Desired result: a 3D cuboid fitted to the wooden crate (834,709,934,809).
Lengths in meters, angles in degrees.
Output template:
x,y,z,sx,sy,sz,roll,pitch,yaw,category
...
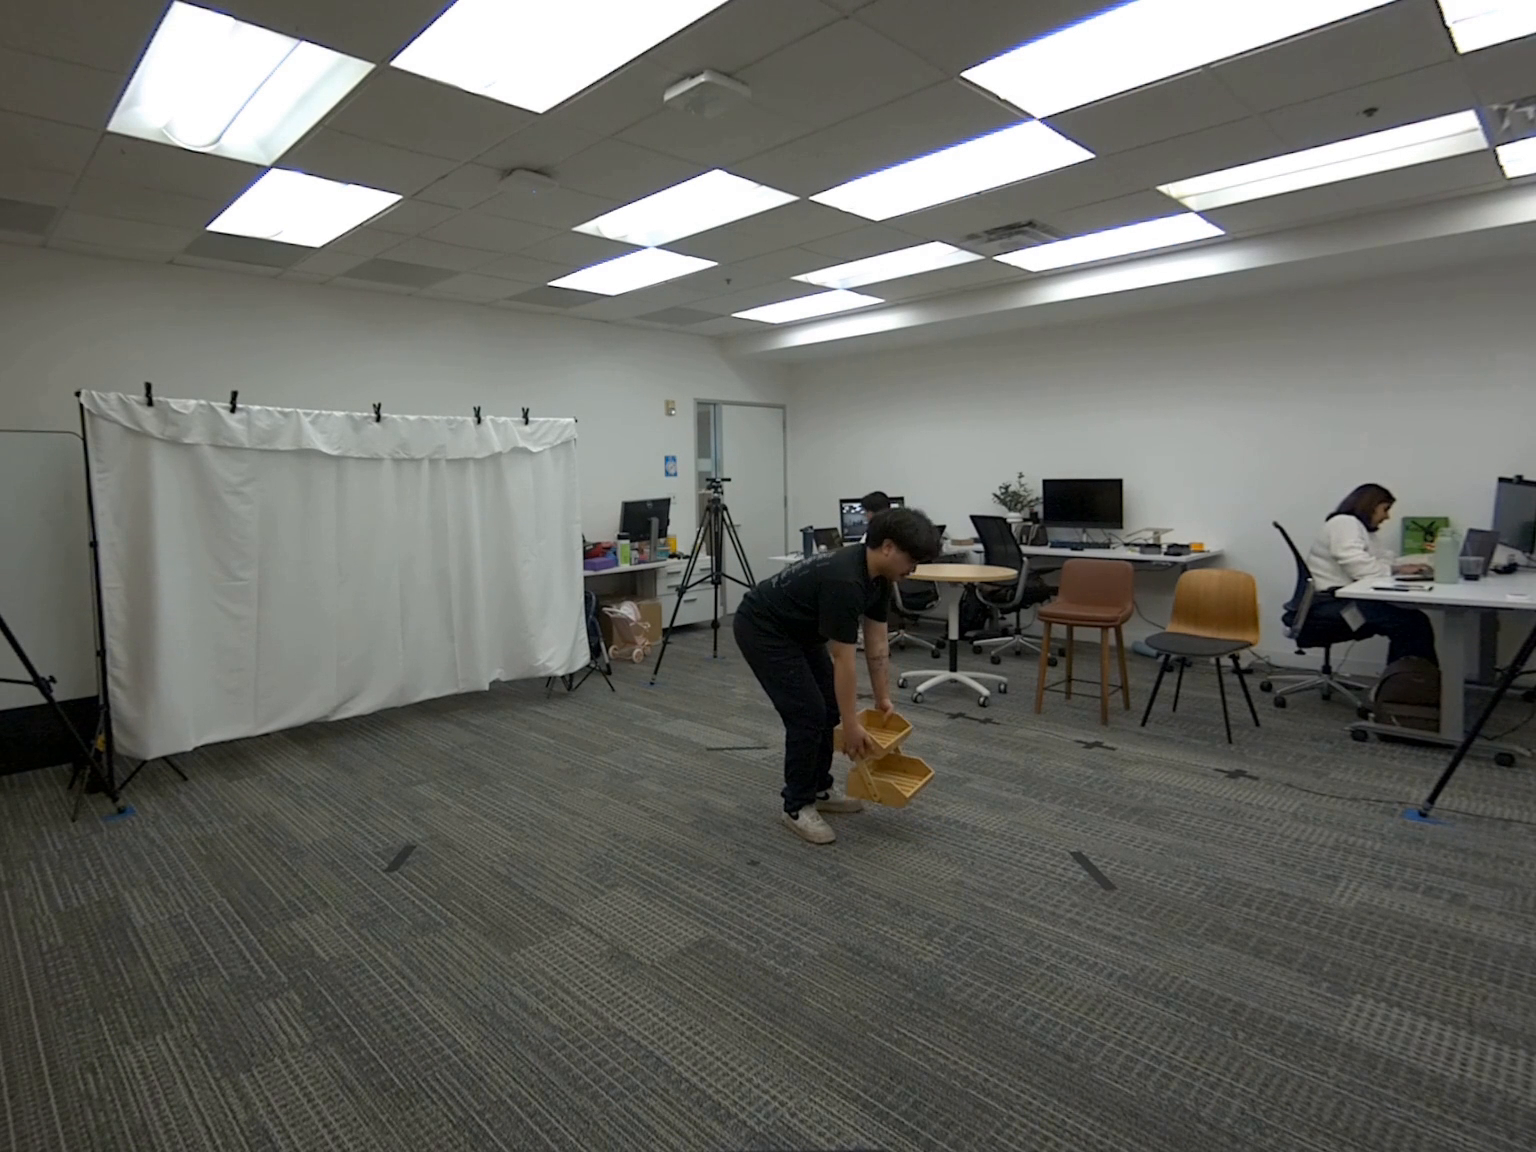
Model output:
x,y,z,sx,sy,sz,roll,pitch,yaw,category
0.461,0.705,3.362,0.310,0.272,0.317,4,8,32,wooden crate
